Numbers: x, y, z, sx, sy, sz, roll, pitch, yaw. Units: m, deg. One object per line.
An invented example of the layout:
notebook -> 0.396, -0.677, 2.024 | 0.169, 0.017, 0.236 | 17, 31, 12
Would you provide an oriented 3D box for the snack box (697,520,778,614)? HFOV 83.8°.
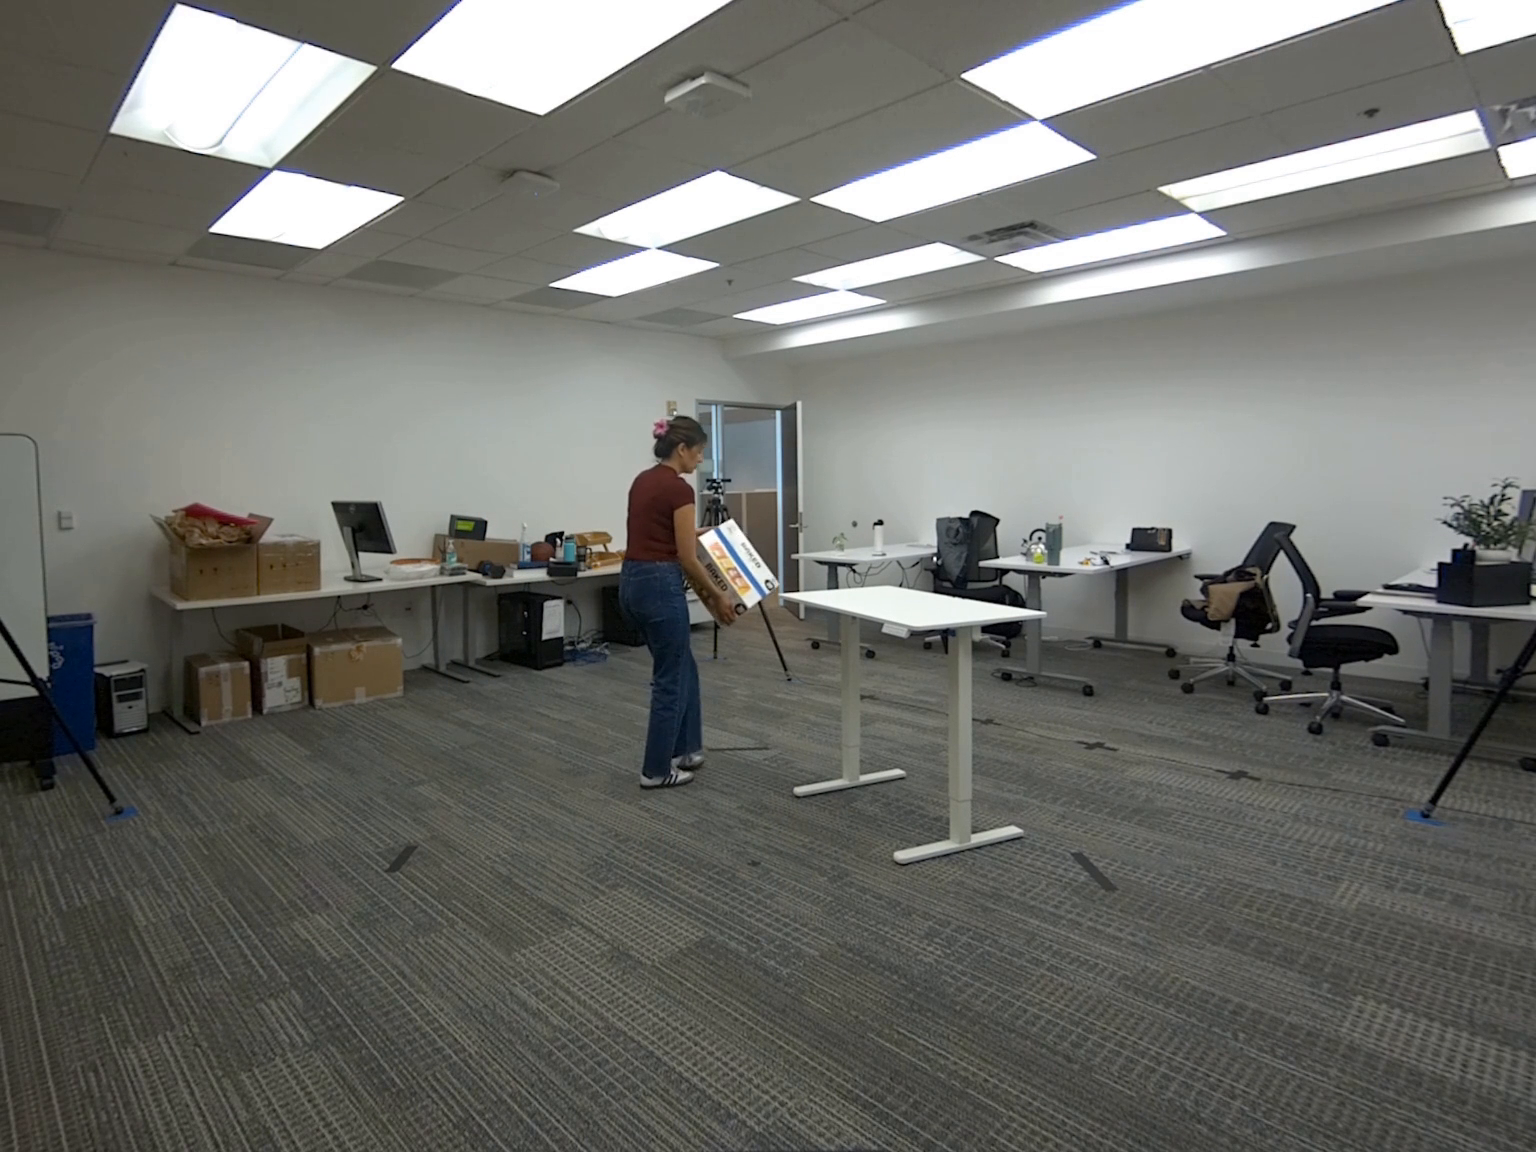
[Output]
snack box -> -0.208, -0.019, 4.106 | 0.207, 0.407, 0.337 | -38, -3, 32
